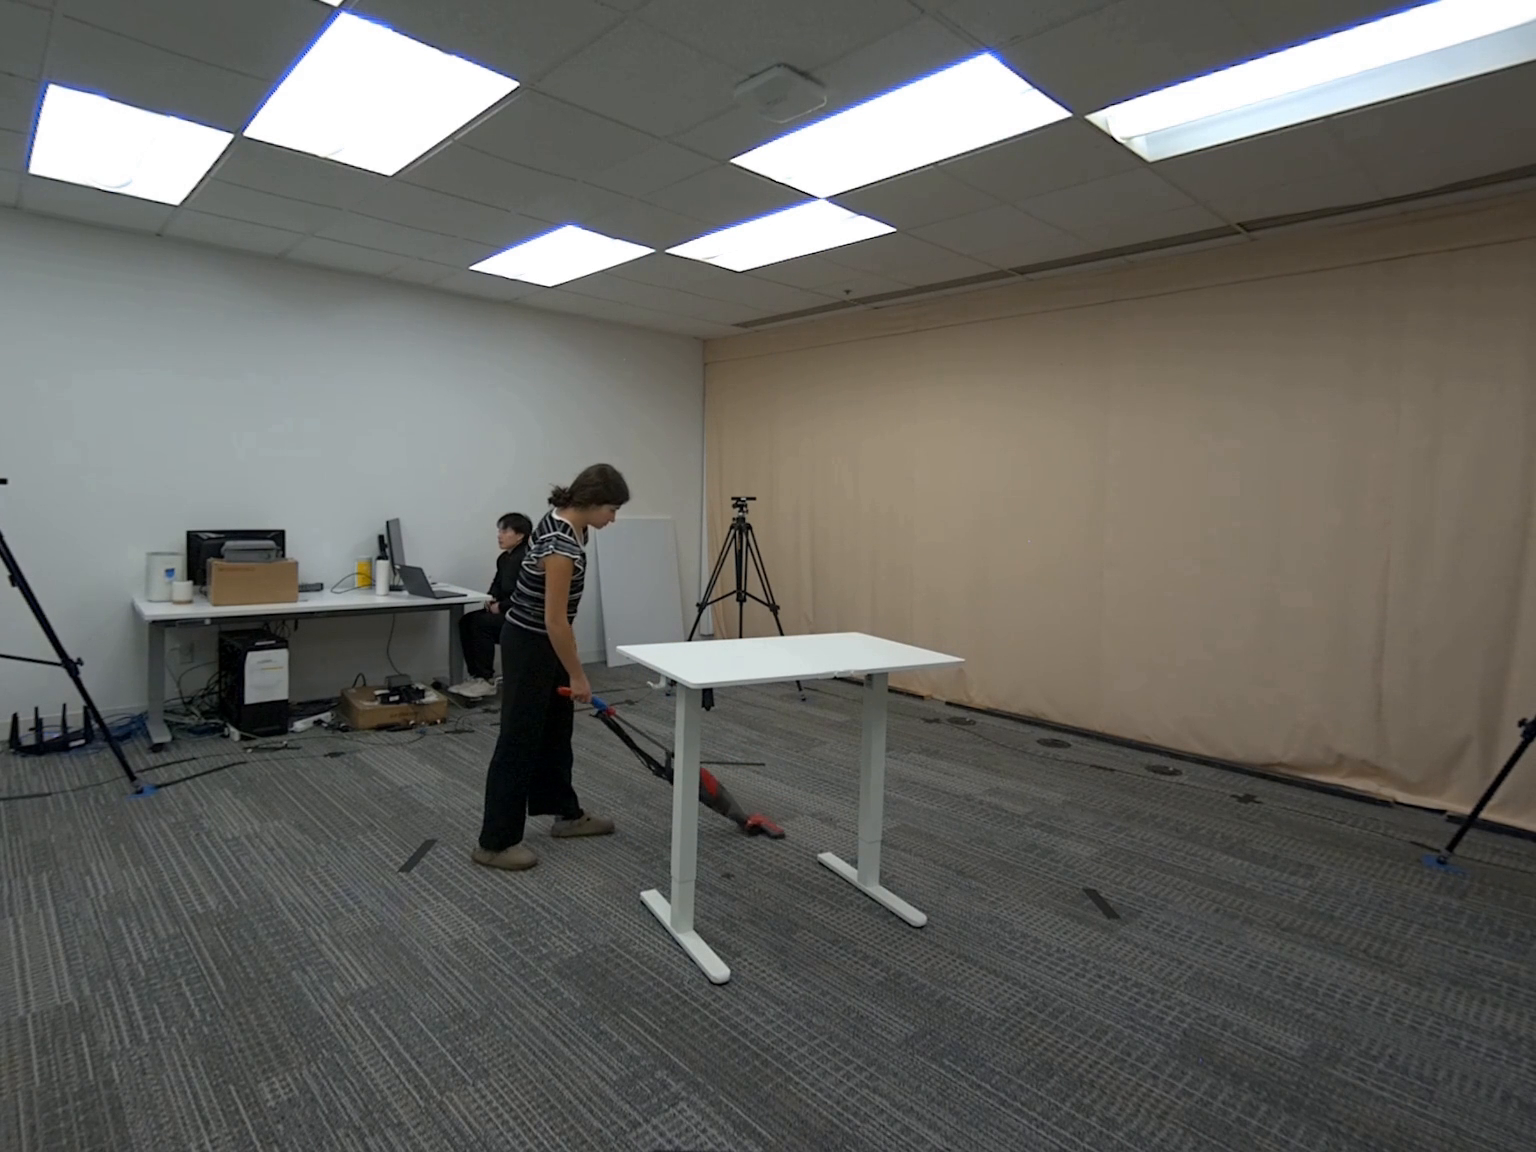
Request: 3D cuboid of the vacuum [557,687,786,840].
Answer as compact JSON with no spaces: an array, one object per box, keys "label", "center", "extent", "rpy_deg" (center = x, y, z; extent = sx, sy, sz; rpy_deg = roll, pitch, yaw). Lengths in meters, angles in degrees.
[{"label":"vacuum","center":[-0.413,0.761,3.392],"extent":[1.028,0.144,0.257],"rpy_deg":[37,-15,-20]}]
